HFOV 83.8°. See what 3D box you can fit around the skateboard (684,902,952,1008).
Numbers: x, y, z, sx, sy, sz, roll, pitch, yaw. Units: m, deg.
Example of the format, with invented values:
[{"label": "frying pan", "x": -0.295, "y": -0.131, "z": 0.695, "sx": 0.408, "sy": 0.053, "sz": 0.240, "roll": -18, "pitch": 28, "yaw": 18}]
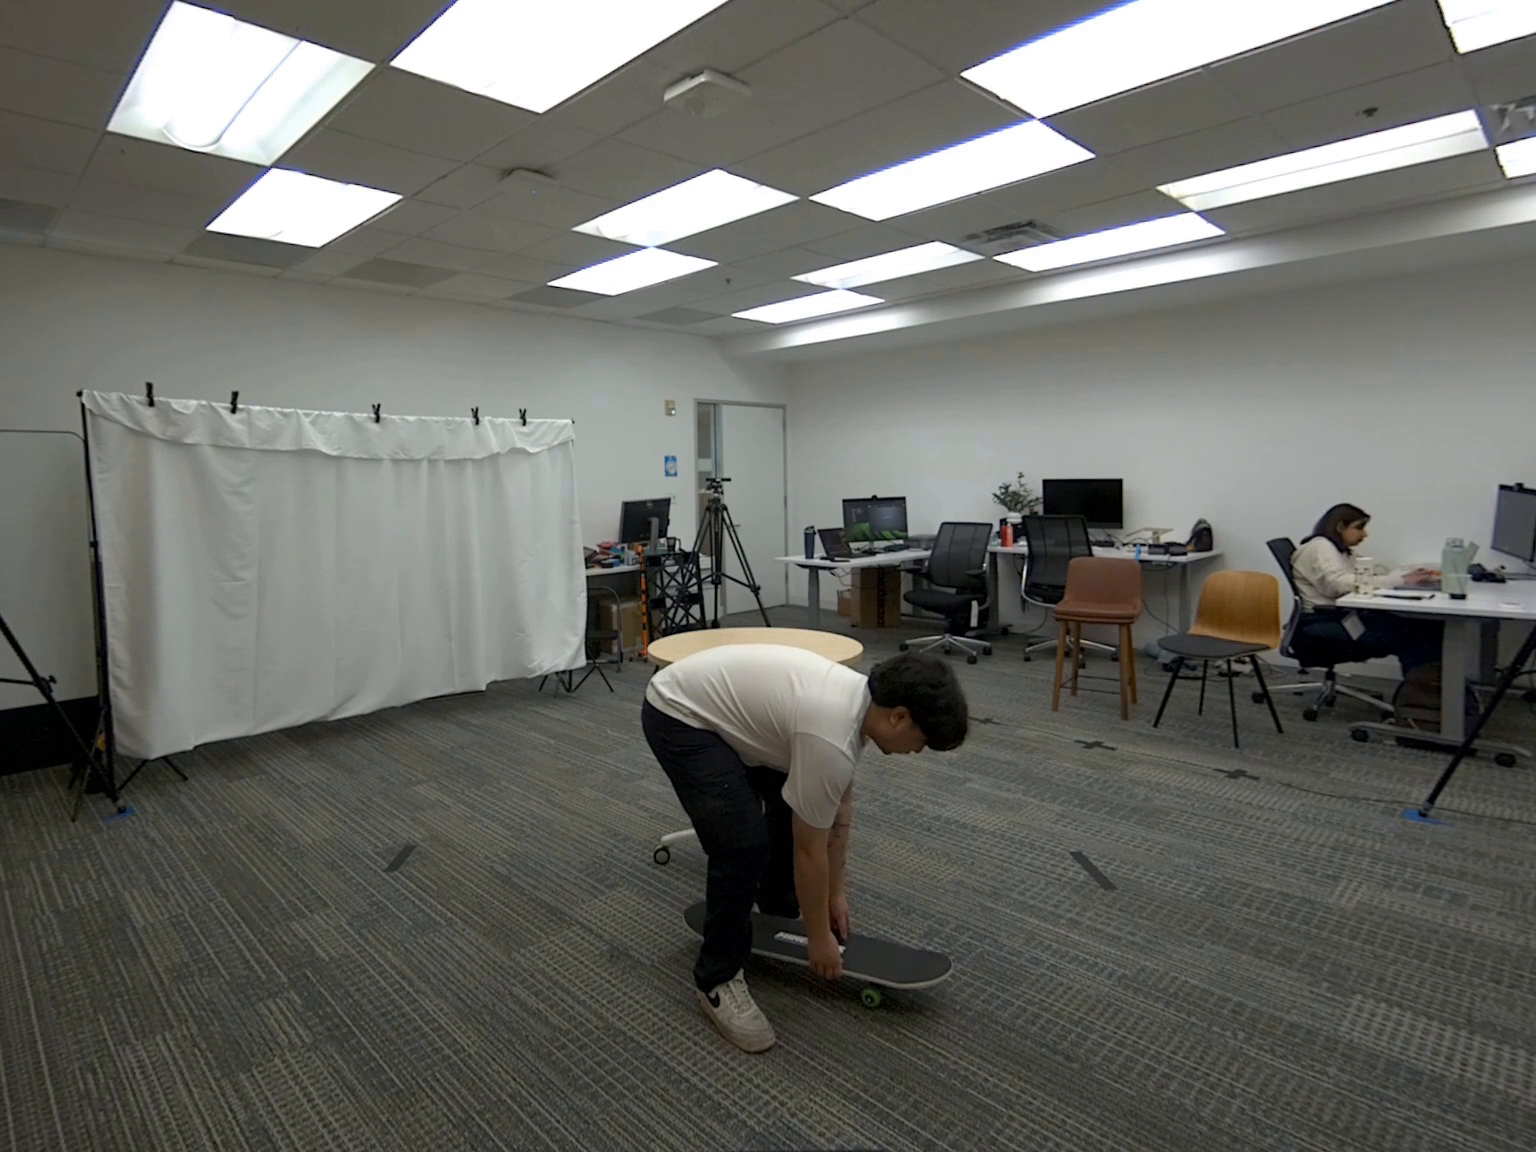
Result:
[{"label": "skateboard", "x": 0.129, "y": 1.063, "z": 2.400, "sx": 0.803, "sy": 0.110, "sz": 0.190, "roll": 1, "pitch": 6, "yaw": 25}]
